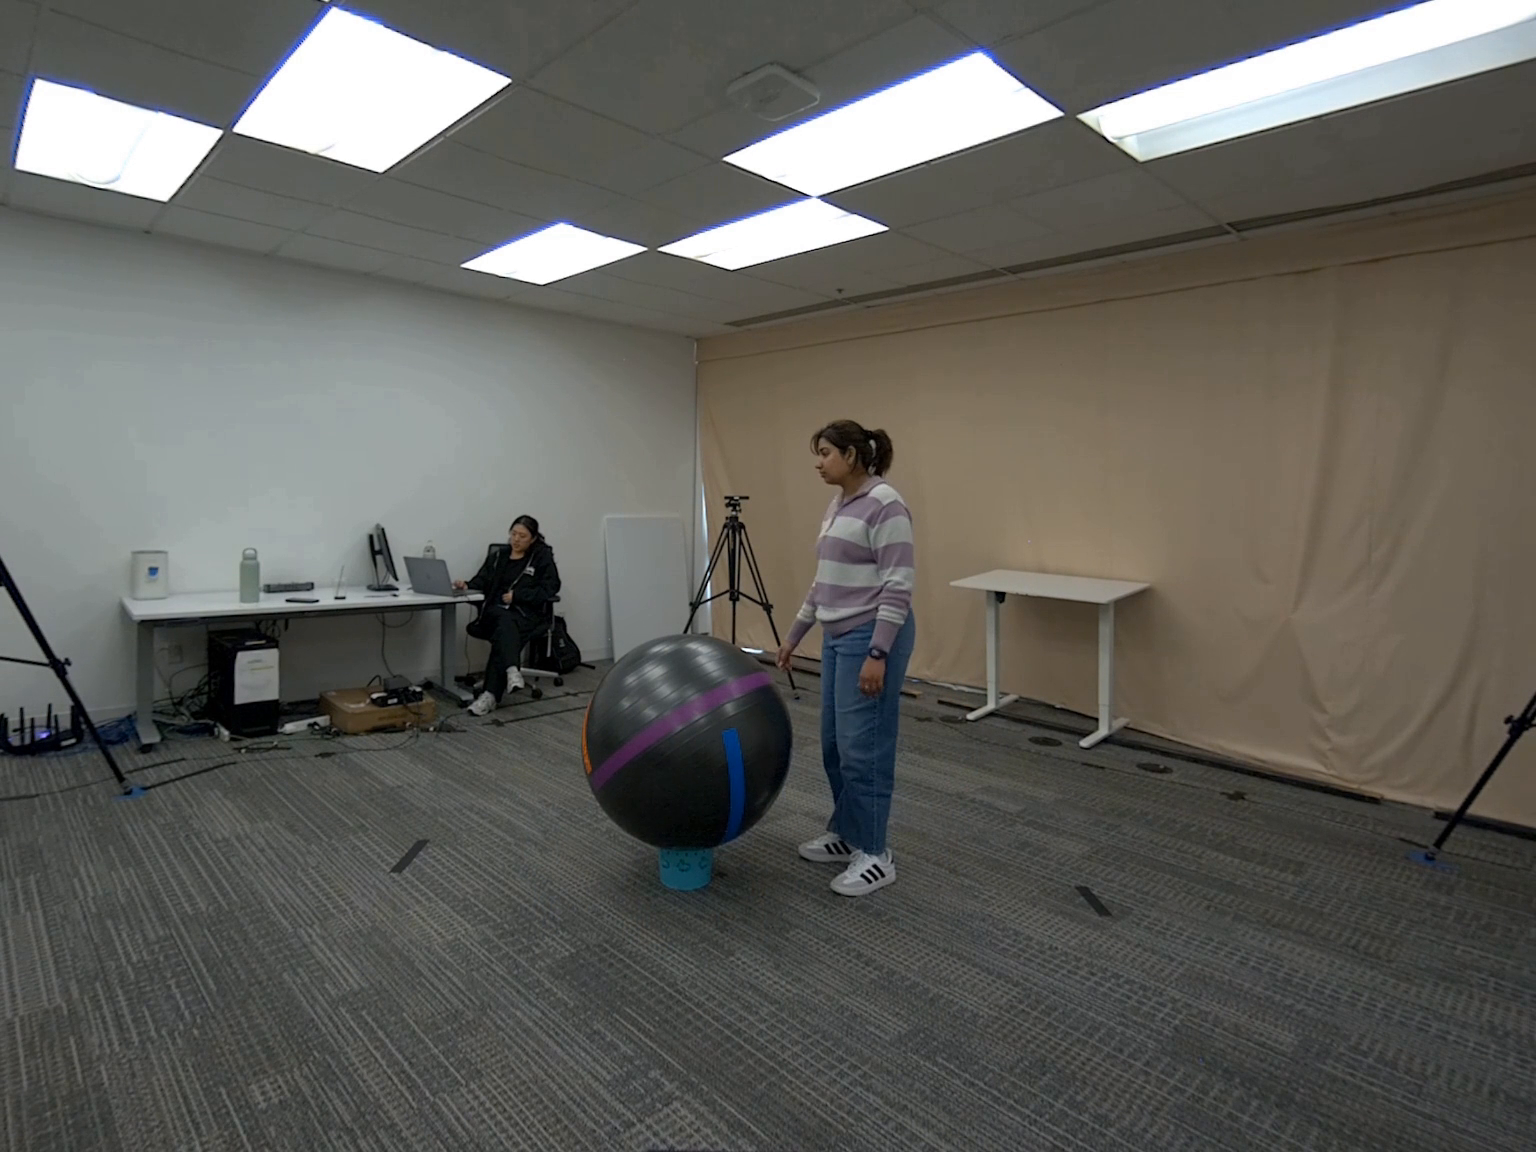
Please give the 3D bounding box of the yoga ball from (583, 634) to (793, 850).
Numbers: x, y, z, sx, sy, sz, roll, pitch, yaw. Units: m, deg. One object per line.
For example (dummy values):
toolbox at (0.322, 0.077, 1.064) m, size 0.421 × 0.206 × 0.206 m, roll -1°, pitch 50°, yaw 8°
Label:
yoga ball at (-0.291, 0.588, 3.042) m, size 0.757 × 0.756 × 0.761 m, roll 1°, pitch 4°, yaw -1°
